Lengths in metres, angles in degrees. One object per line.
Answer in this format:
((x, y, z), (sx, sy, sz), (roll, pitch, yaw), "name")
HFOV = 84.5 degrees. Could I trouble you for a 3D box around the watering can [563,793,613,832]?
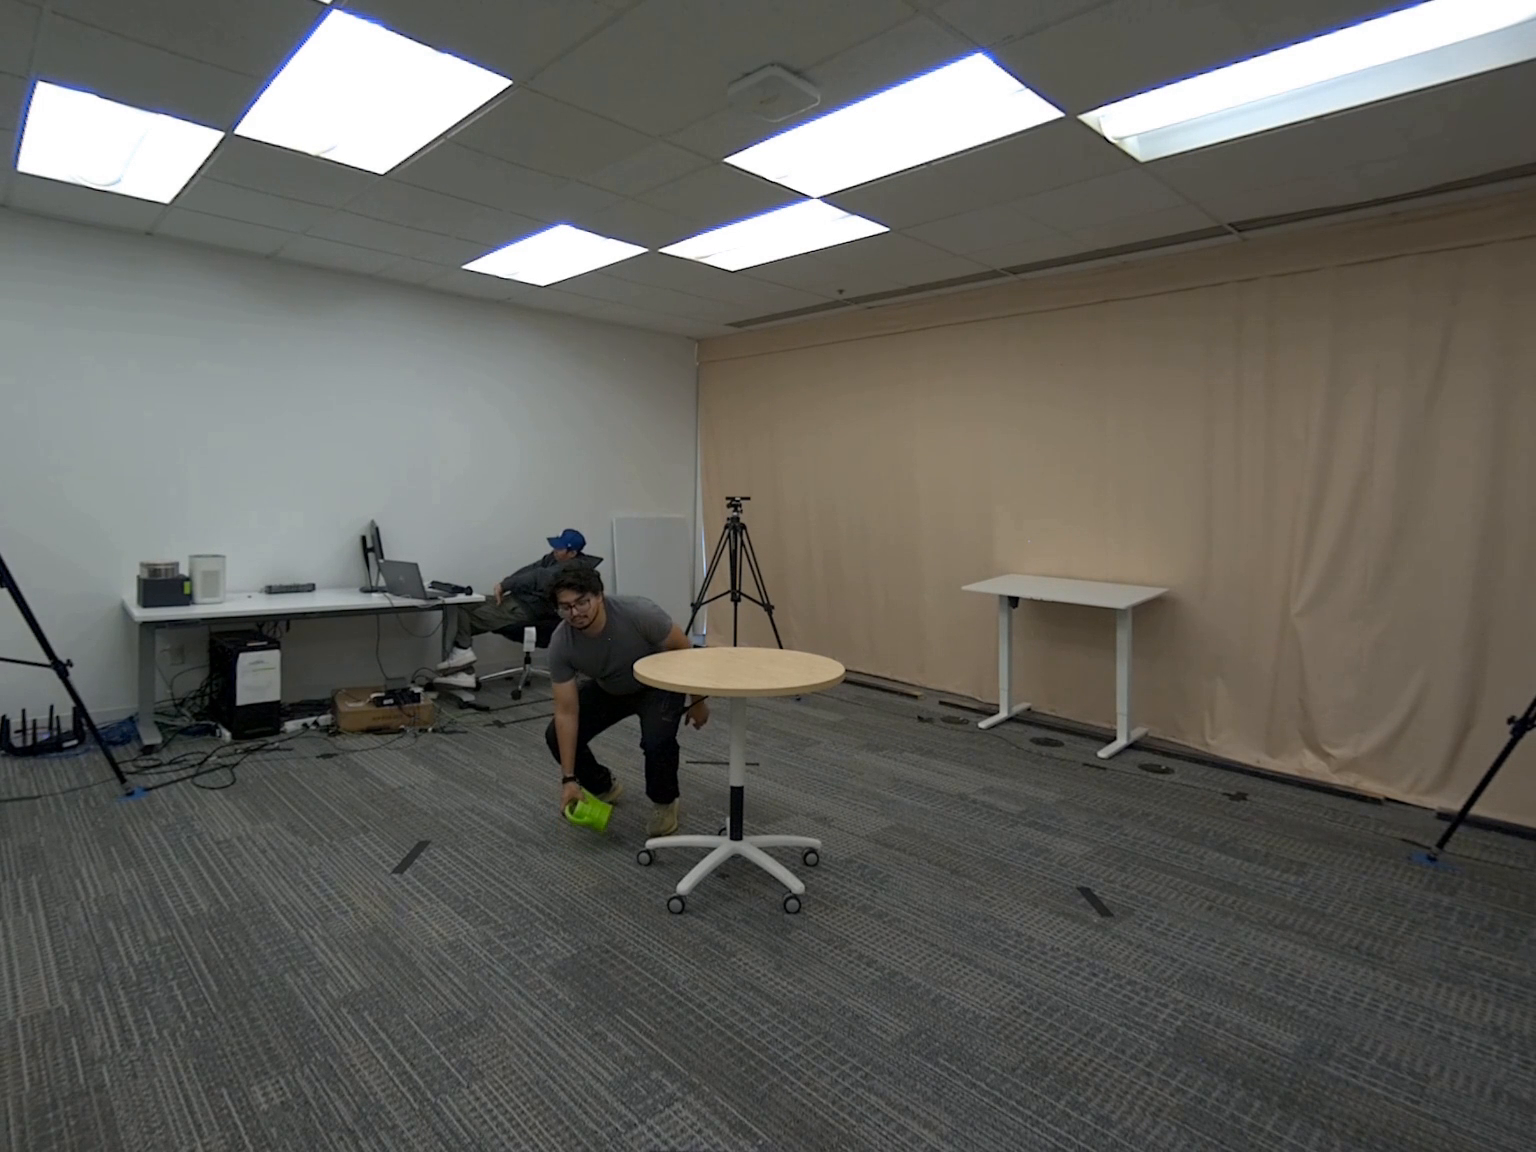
((-0.722, 0.923, 3.376), (0.176, 0.097, 0.281), (21, 24, -3), "watering can")
